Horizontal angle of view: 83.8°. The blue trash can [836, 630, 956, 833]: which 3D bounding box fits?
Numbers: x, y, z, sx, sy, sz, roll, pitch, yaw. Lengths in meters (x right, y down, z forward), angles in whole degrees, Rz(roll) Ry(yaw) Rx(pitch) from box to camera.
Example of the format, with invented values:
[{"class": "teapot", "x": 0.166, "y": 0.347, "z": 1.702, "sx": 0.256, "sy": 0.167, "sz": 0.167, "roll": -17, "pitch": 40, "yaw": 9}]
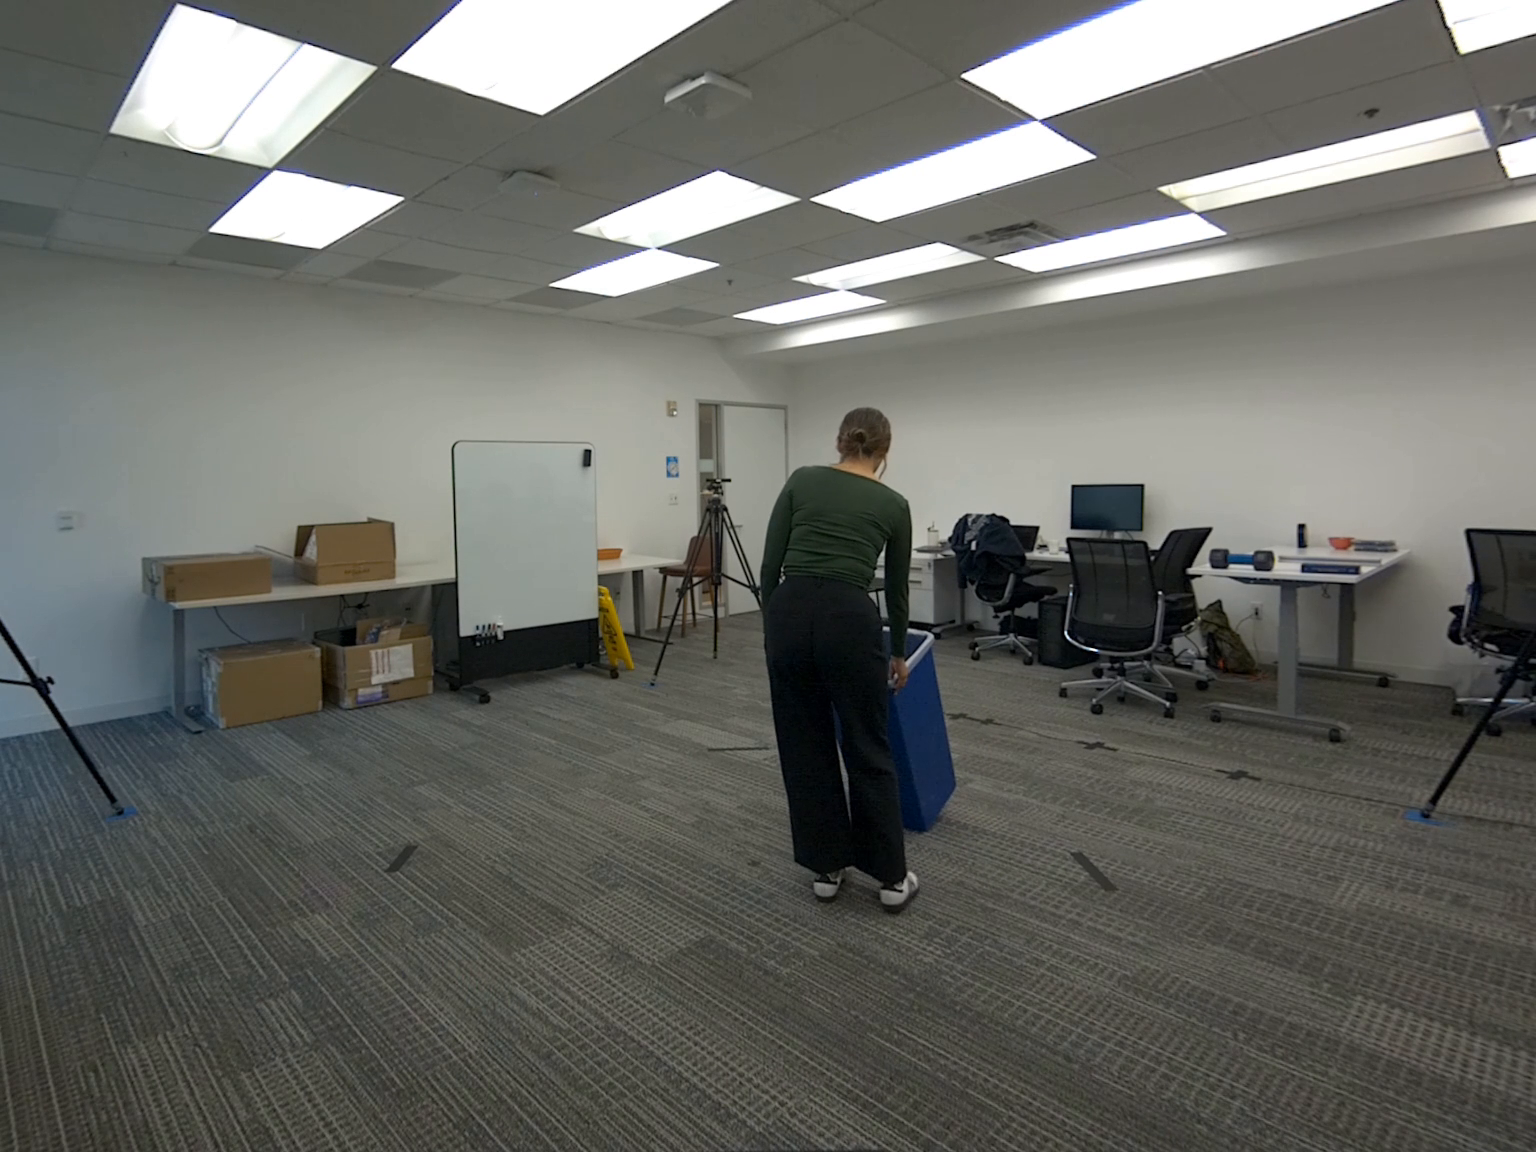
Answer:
[{"class": "blue trash can", "x": 0.497, "y": 0.609, "z": 3.434, "sx": 0.389, "sy": 0.698, "sz": 0.371, "roll": 2, "pitch": 27, "yaw": 40}]
